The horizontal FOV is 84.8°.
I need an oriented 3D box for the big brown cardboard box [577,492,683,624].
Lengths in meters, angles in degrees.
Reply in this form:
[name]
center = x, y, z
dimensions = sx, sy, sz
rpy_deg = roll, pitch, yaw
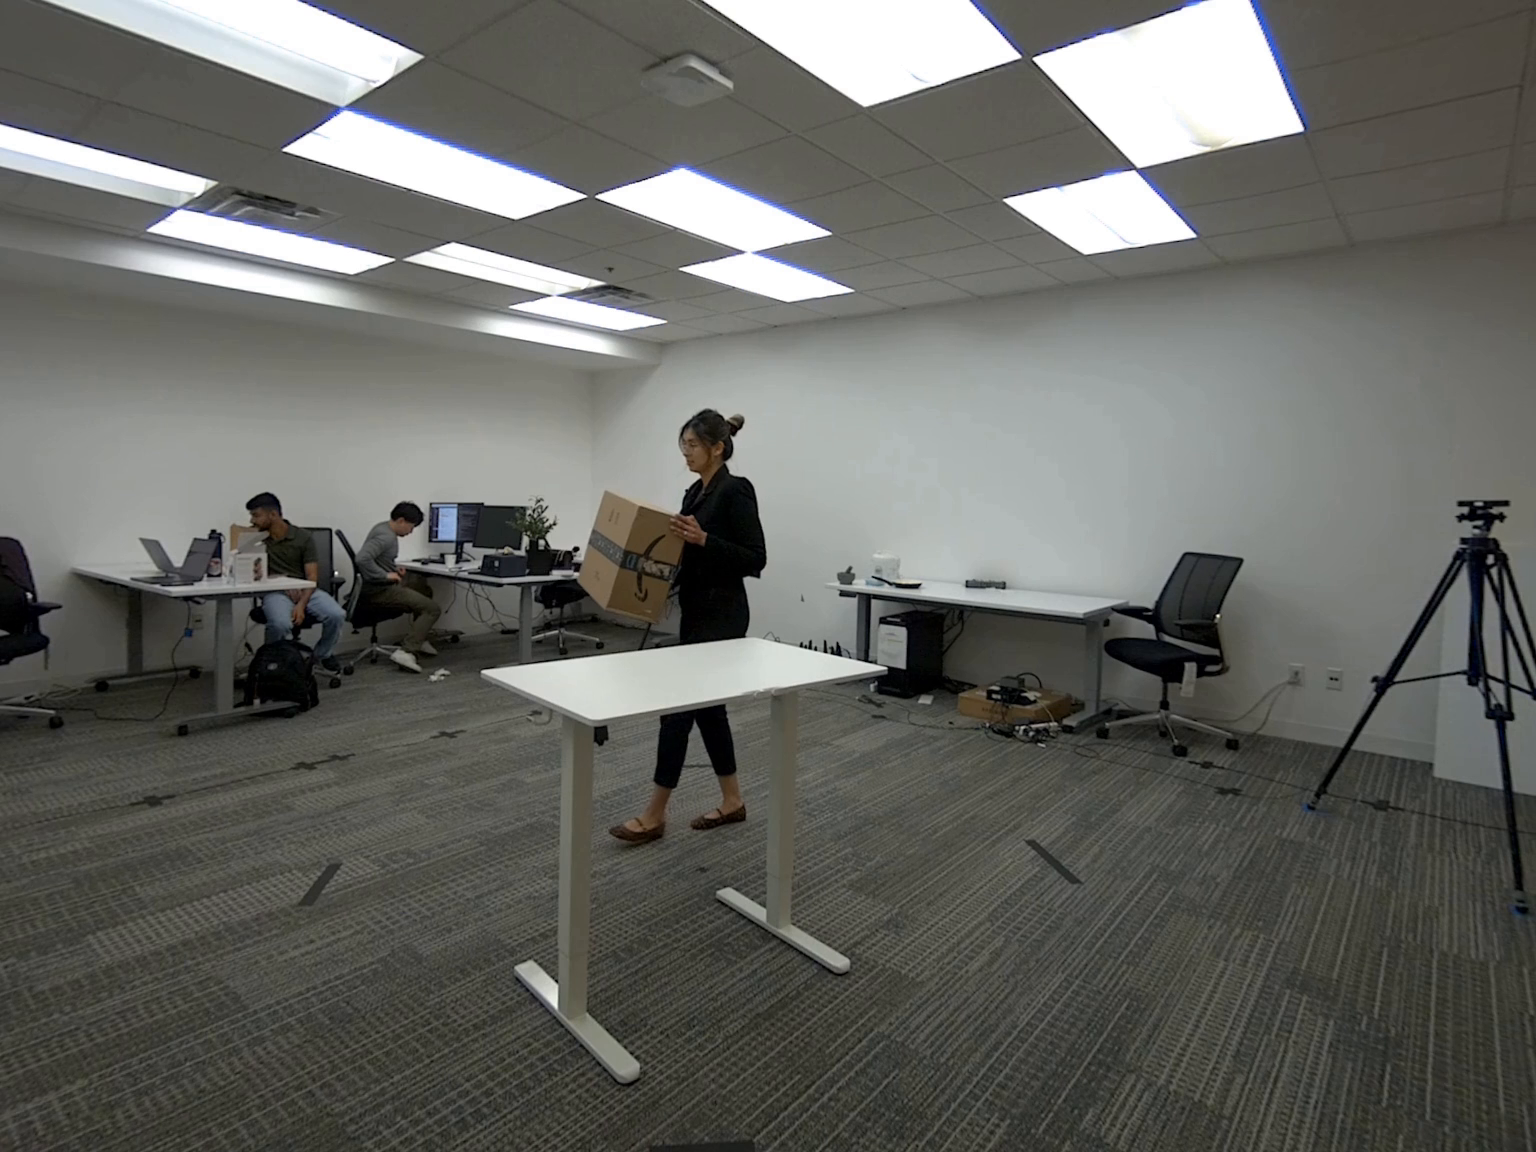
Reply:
[big brown cardboard box]
center = -0.568, -0.093, 3.435
dimensions = 0.226, 0.417, 0.607
rpy_deg = 17, 4, -26
